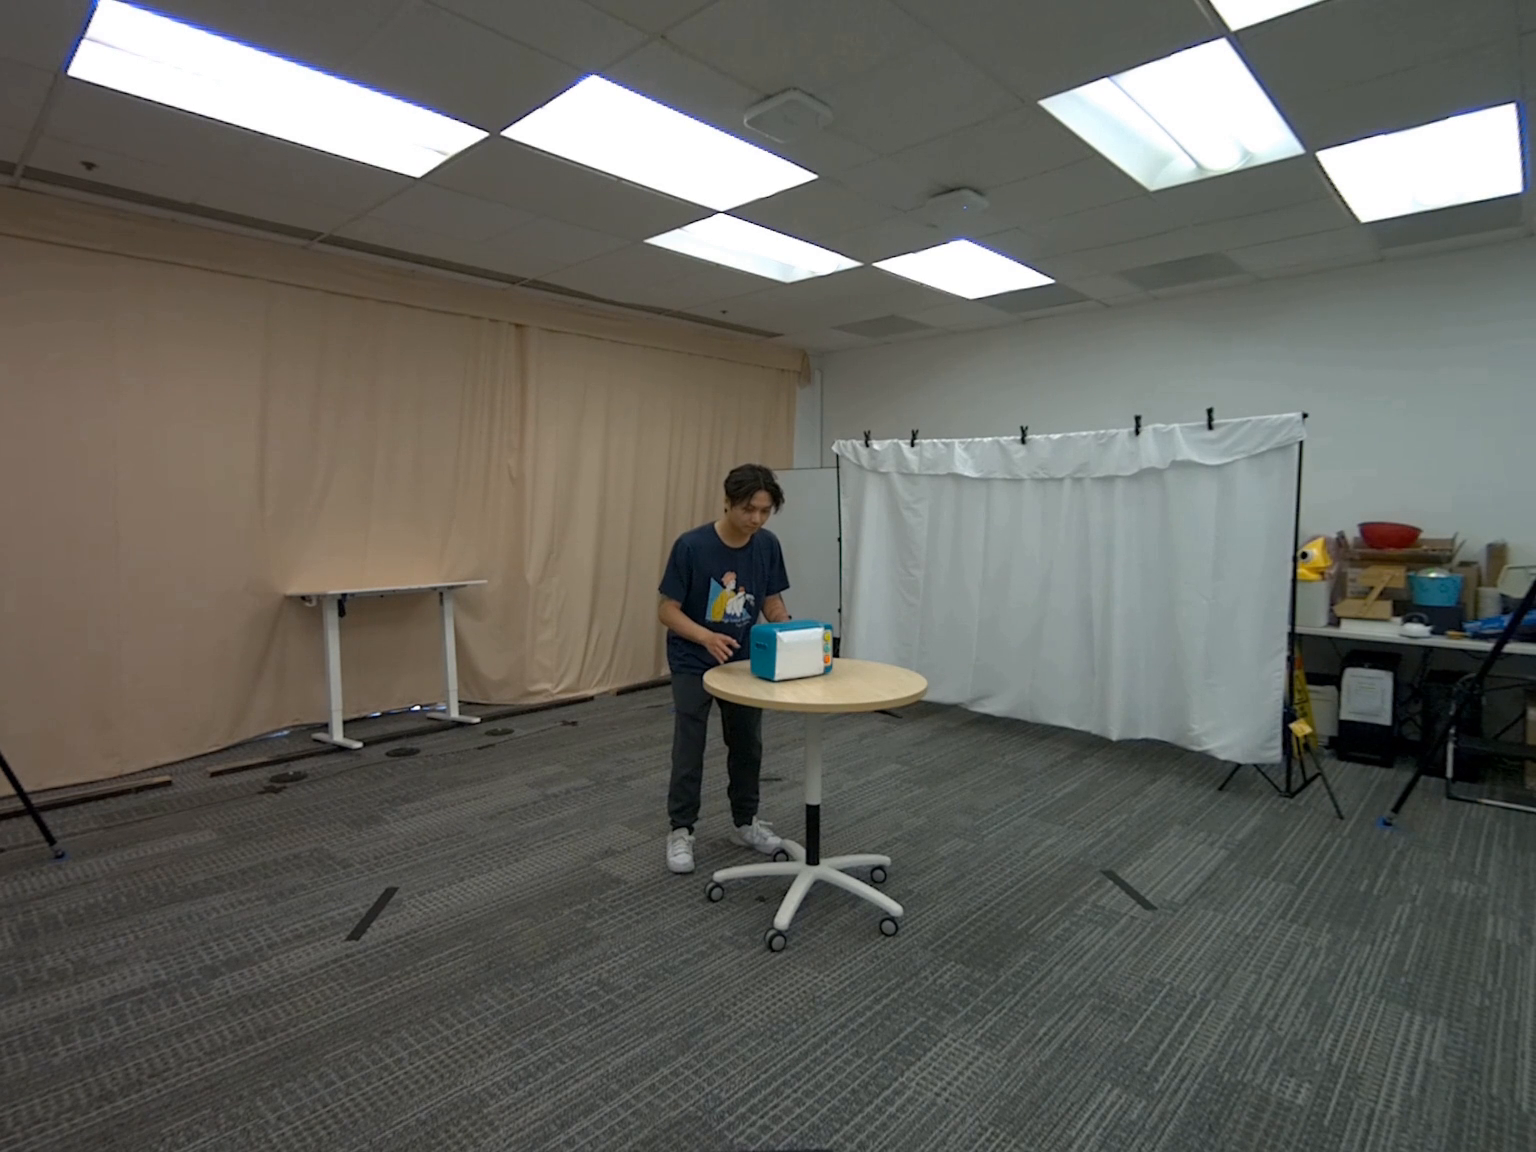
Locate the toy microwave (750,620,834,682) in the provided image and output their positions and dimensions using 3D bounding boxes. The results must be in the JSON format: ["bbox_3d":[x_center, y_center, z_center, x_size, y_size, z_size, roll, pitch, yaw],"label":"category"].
[{"bbox_3d":[0.086,0.255,2.933,0.278,0.183,0.157,-3,6,-36],"label":"toy microwave"}]
